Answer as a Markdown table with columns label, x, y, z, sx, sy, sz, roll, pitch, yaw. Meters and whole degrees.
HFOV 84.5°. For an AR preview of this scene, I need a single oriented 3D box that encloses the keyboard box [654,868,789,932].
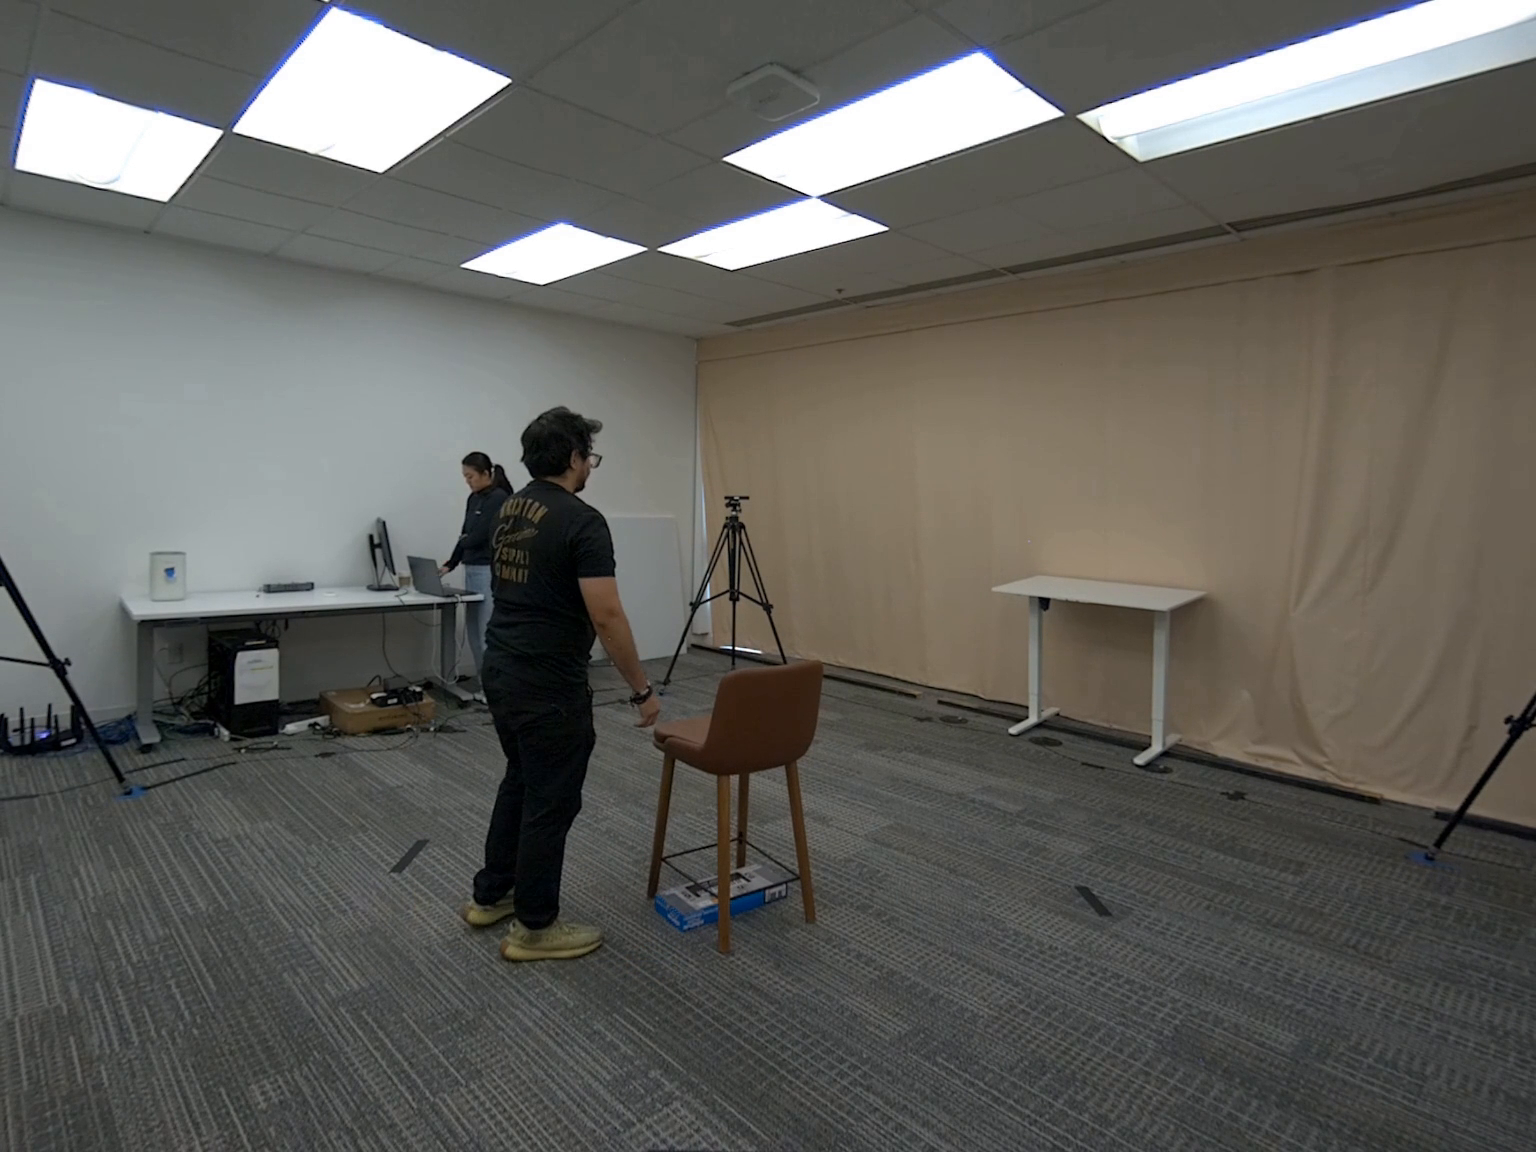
| label | x | y | z | sx | sy | sz | roll | pitch | yaw |
| --- | --- | --- | --- | --- | --- | --- | --- | --- | --- |
| keyboard box | -0.167 | 1.098 | 2.878 | 0.427 | 0.059 | 0.180 | -3 | 8 | -36 |
